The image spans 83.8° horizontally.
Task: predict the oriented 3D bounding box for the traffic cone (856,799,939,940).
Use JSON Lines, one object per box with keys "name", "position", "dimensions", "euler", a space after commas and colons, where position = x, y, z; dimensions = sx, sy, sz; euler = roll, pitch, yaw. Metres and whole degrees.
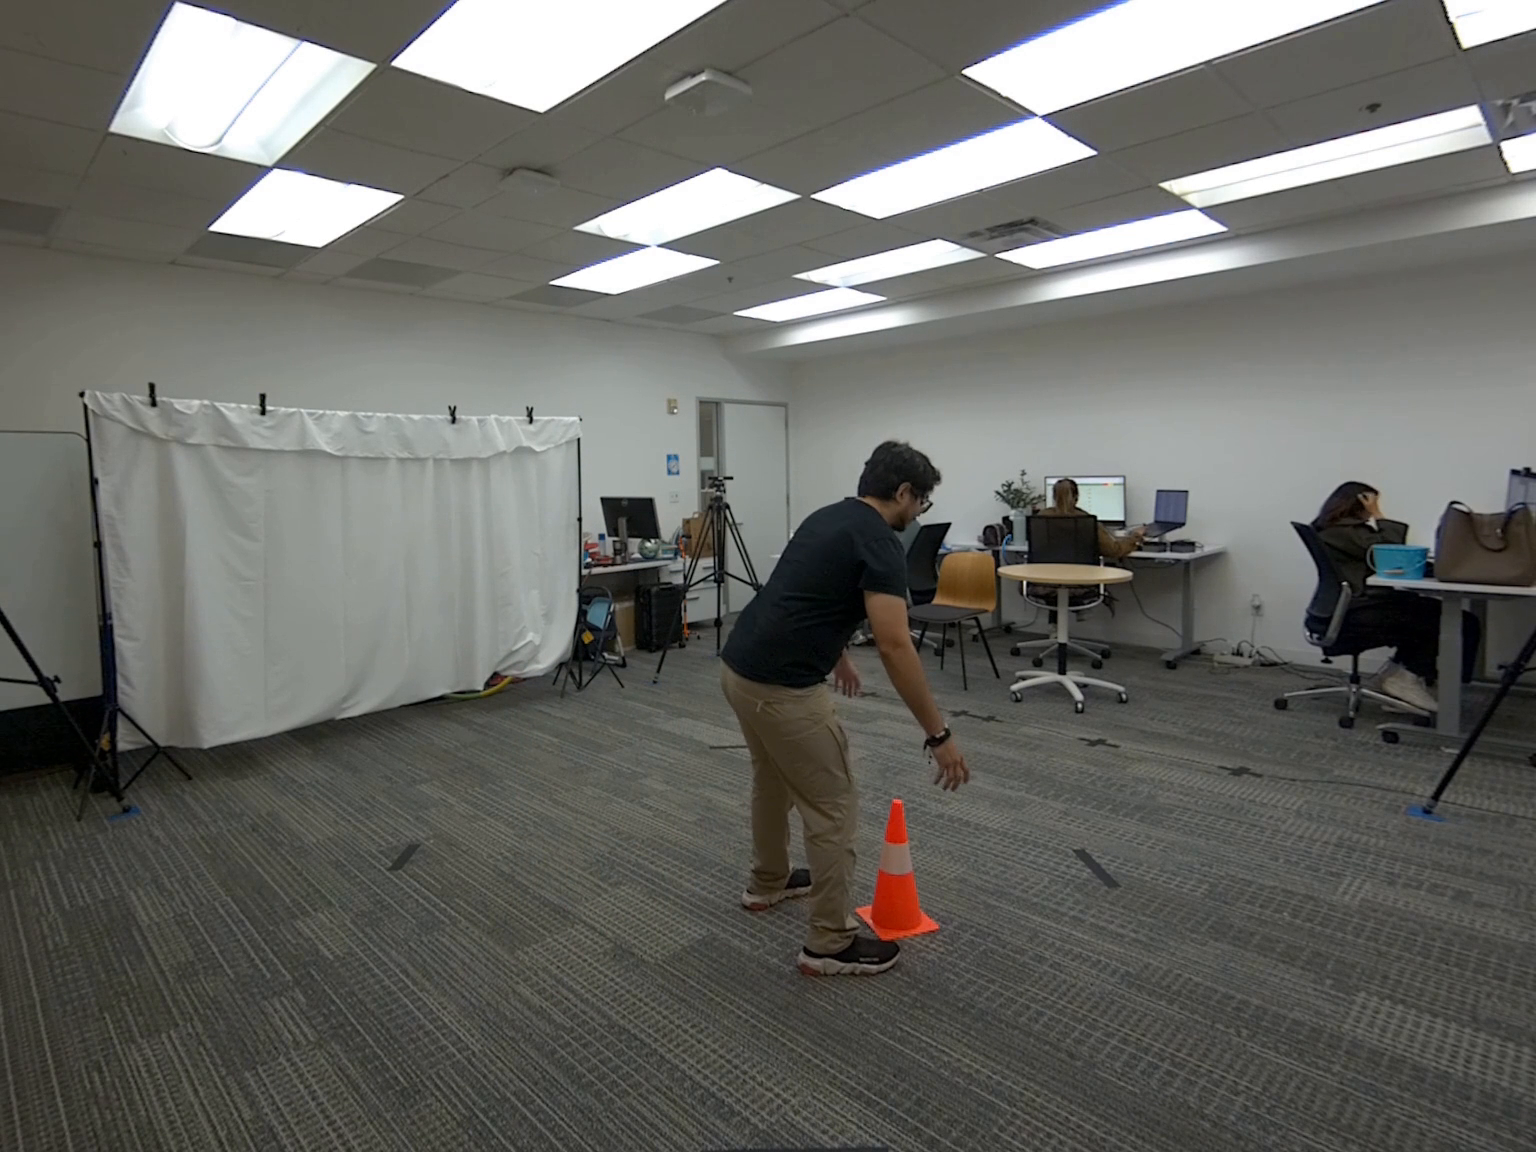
{"name": "traffic cone", "position": [0.401, 0.887, 2.678], "dimensions": [0.200, 0.383, 0.208], "euler": [-1, 2, -16]}
